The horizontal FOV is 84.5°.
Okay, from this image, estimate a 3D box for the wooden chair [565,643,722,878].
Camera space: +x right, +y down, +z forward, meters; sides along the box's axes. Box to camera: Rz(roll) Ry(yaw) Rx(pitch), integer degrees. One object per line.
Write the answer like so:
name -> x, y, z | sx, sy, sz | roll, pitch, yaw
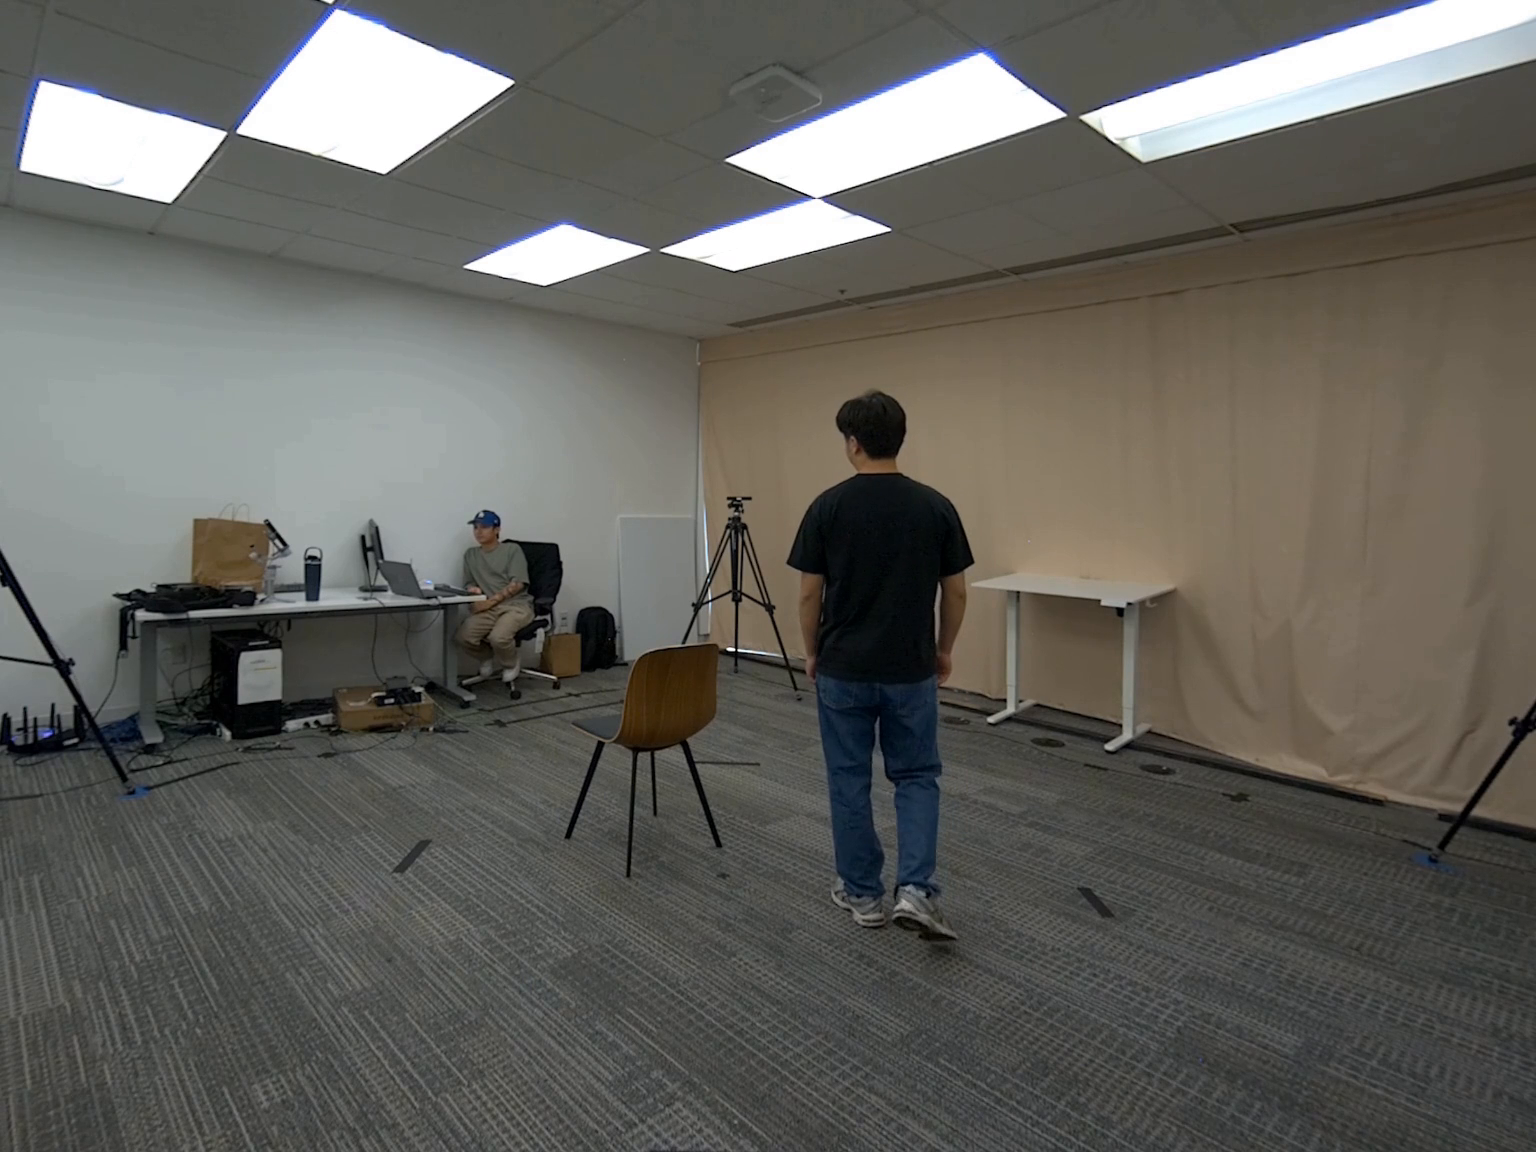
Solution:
wooden chair -> -0.497, 0.648, 3.355 | 0.467, 0.873, 0.537 | -2, 9, -42
